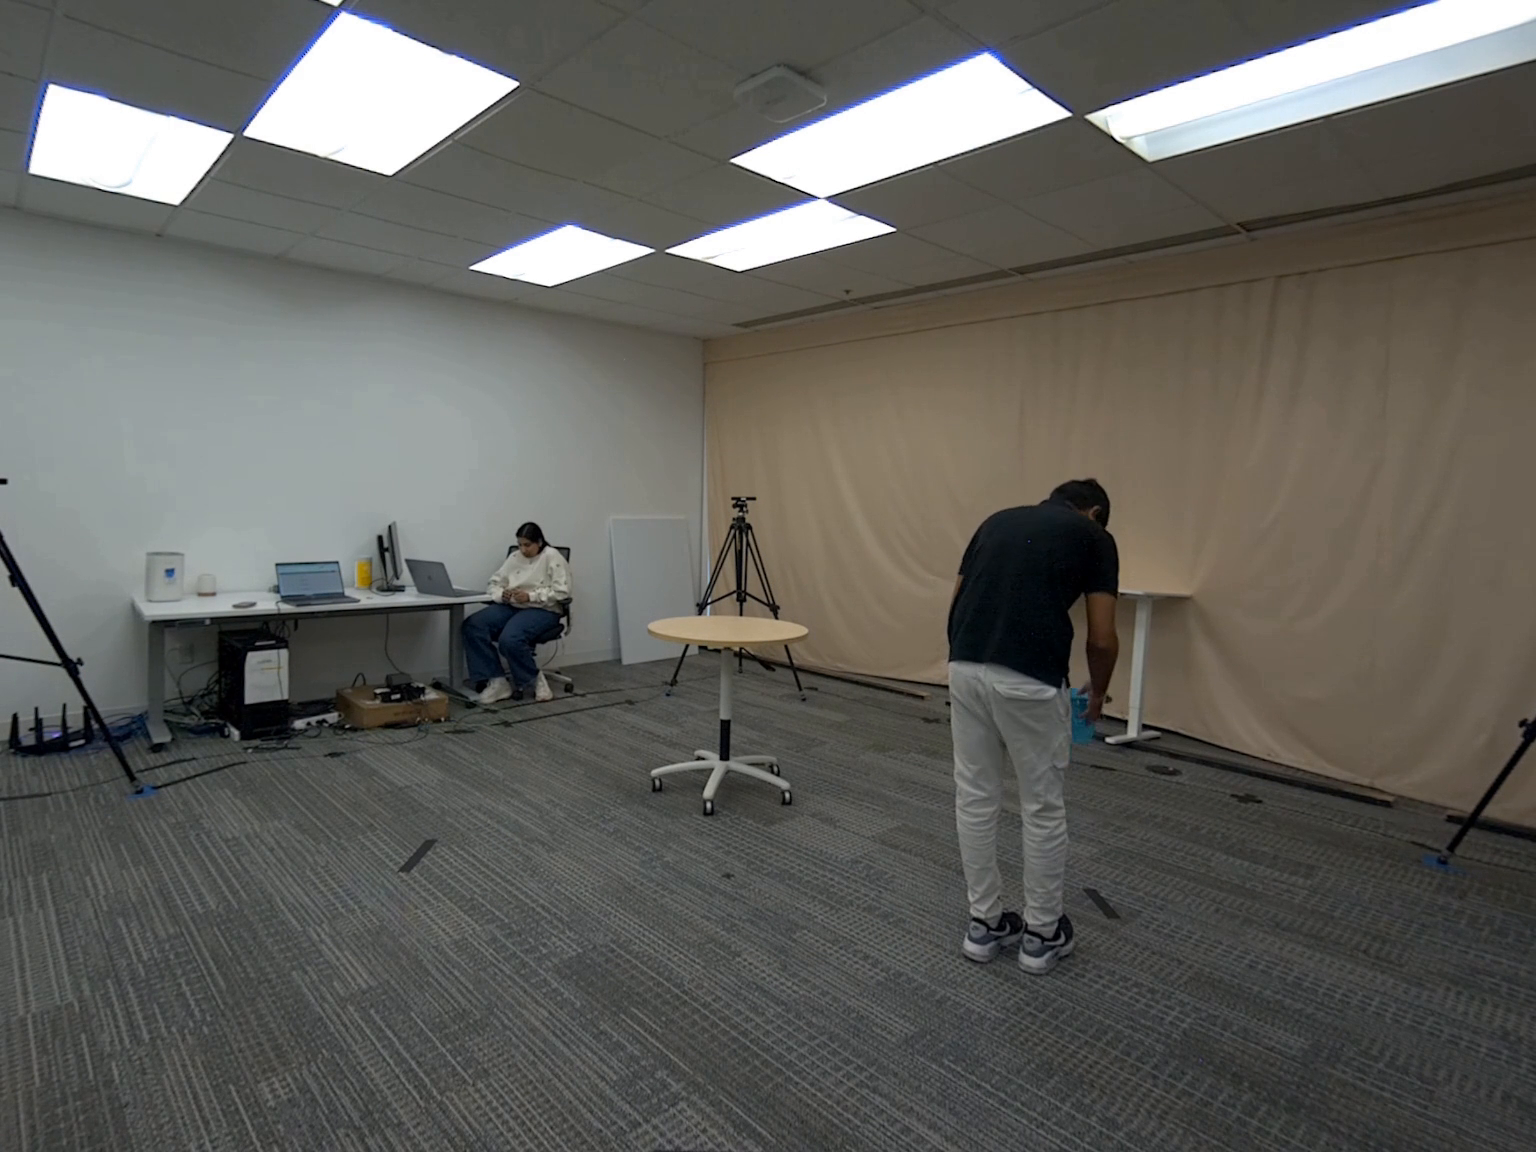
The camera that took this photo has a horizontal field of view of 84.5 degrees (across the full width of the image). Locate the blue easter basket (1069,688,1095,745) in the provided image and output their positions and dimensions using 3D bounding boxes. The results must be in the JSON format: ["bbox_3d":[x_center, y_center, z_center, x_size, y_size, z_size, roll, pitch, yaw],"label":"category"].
[{"bbox_3d":[1.017,0.474,2.834,0.243,0.155,0.244,3,3,-2],"label":"blue easter basket"}]
